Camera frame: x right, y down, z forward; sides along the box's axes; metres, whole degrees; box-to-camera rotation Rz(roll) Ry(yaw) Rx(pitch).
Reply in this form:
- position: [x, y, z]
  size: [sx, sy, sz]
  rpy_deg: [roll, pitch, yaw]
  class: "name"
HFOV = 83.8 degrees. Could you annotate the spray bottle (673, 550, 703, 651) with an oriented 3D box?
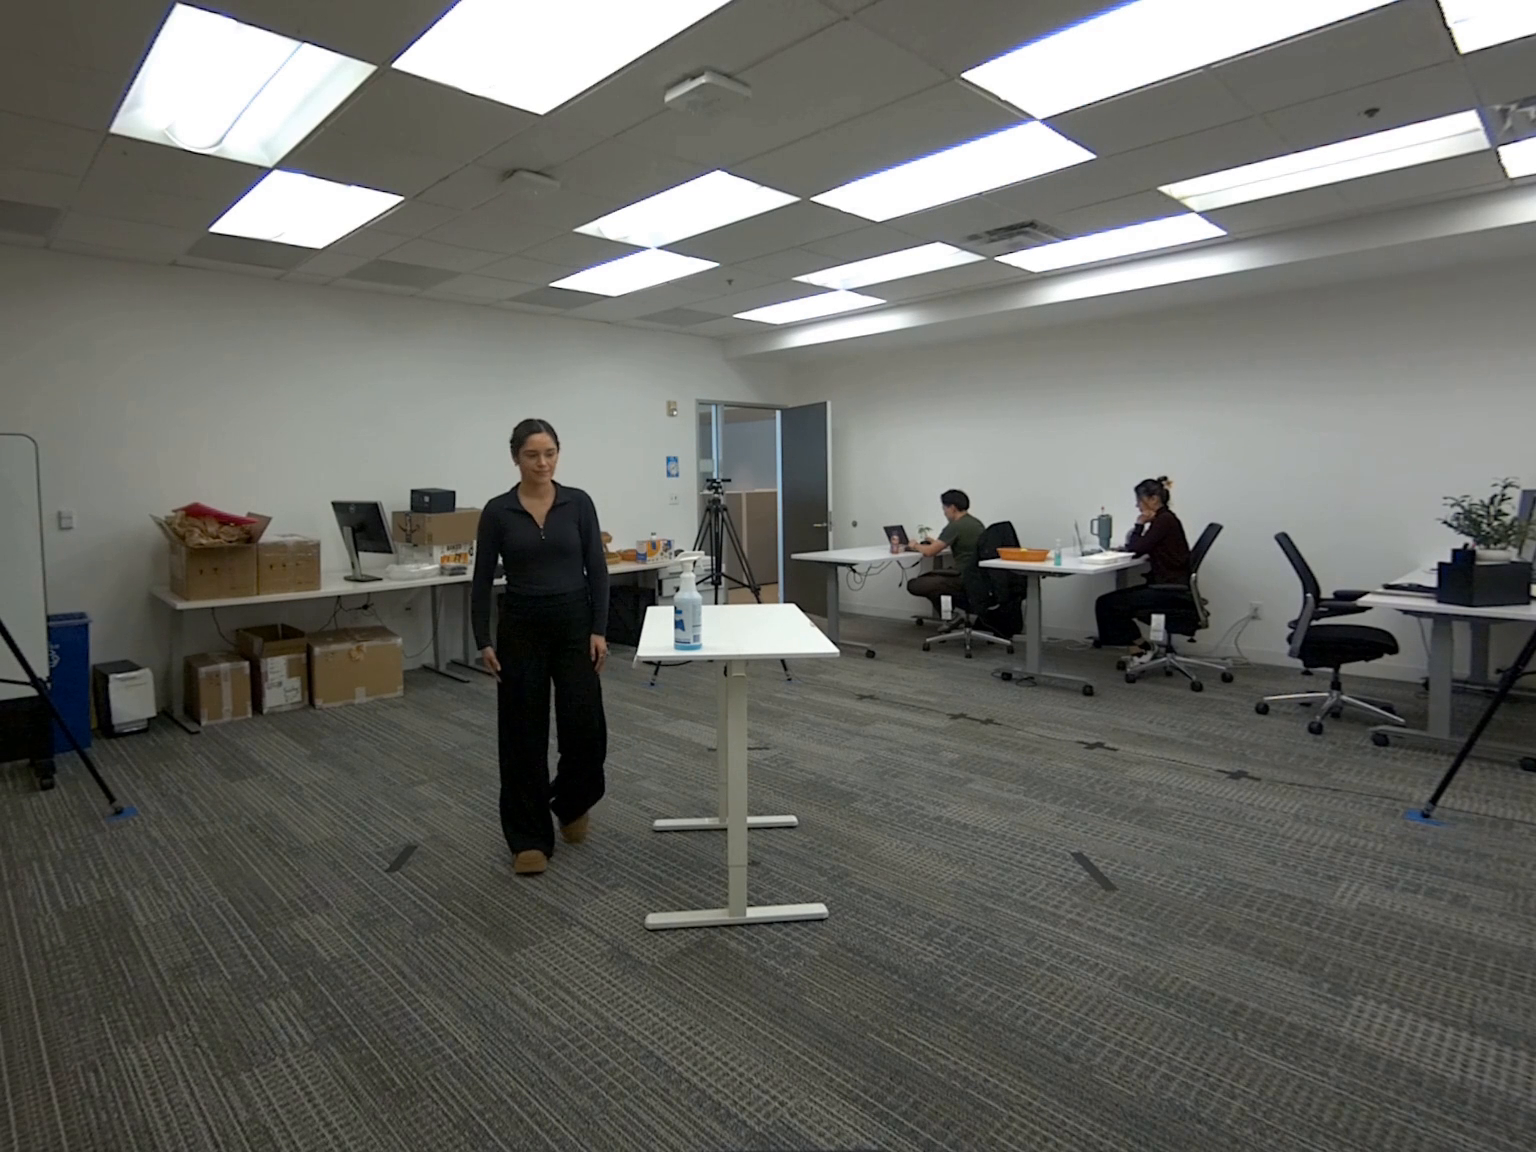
- position: [-0.247, 0.078, 2.605]
  size: [0.092, 0.296, 0.086]
  rpy_deg: [1, 4, 19]
  class: "spray bottle"
